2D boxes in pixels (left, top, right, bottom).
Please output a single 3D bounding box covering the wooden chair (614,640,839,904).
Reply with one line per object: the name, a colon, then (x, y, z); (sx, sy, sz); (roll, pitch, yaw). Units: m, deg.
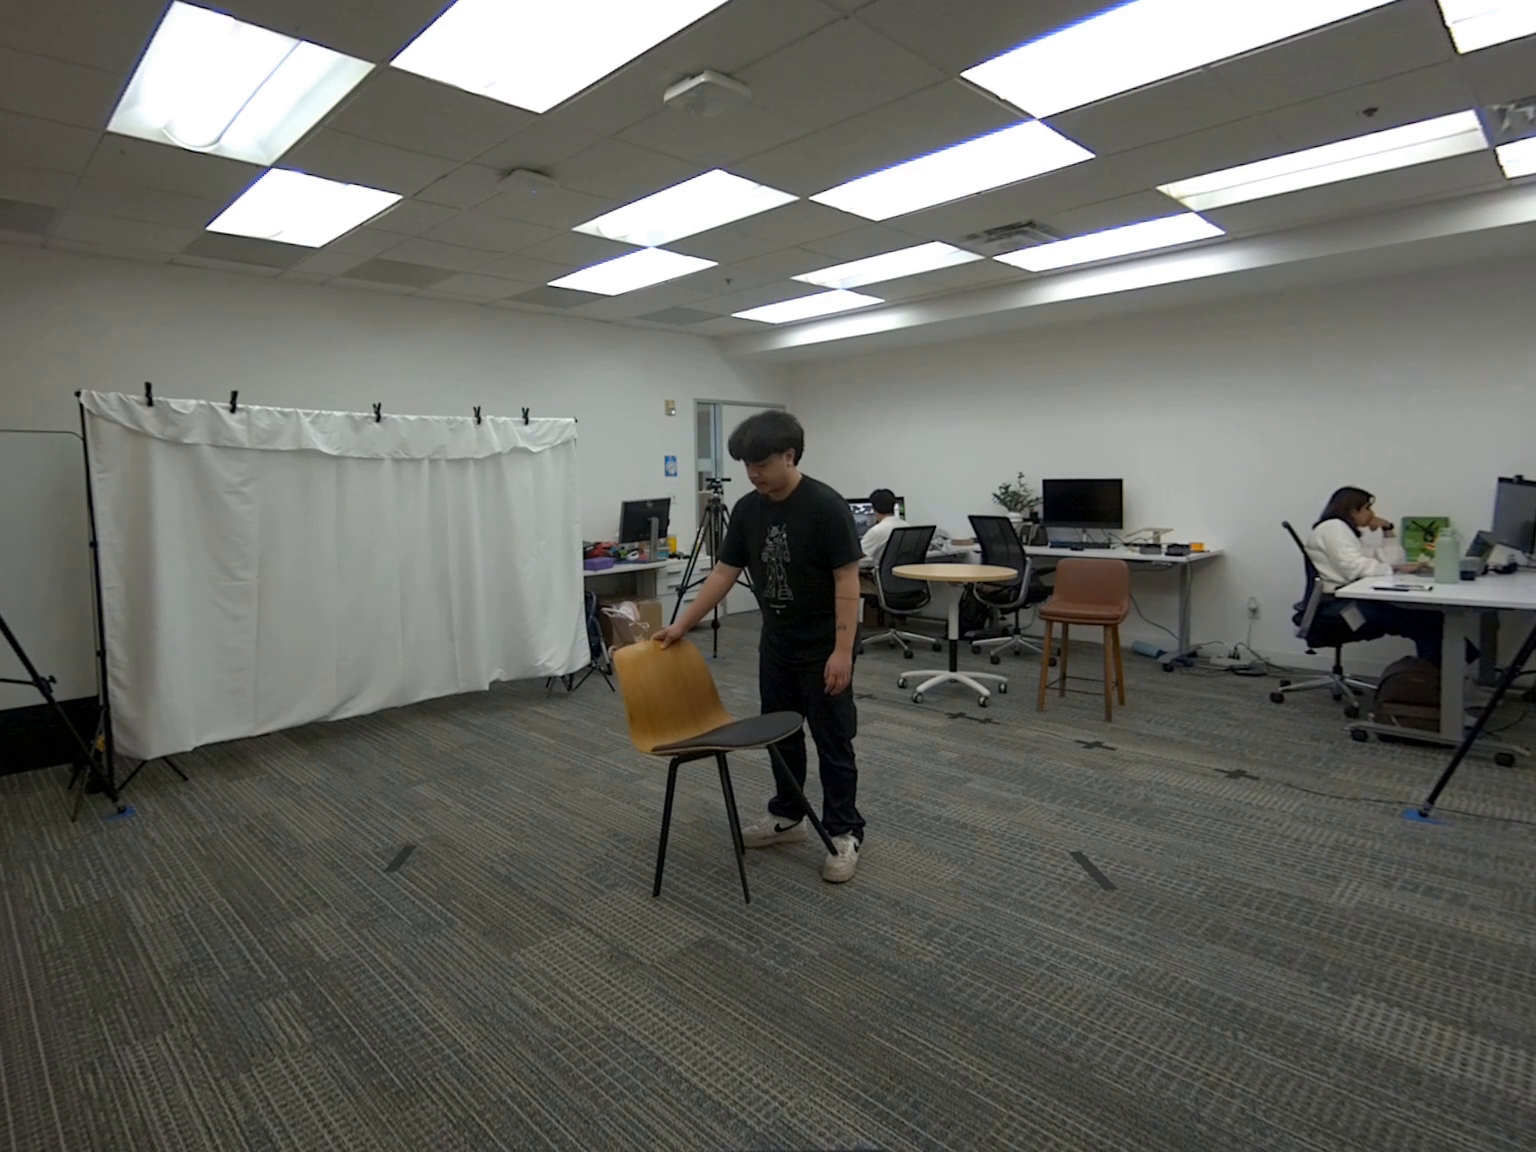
wooden chair: (-0.167, 0.592, 2.910); (0.465, 0.889, 0.530); (-5, -16, -46)
